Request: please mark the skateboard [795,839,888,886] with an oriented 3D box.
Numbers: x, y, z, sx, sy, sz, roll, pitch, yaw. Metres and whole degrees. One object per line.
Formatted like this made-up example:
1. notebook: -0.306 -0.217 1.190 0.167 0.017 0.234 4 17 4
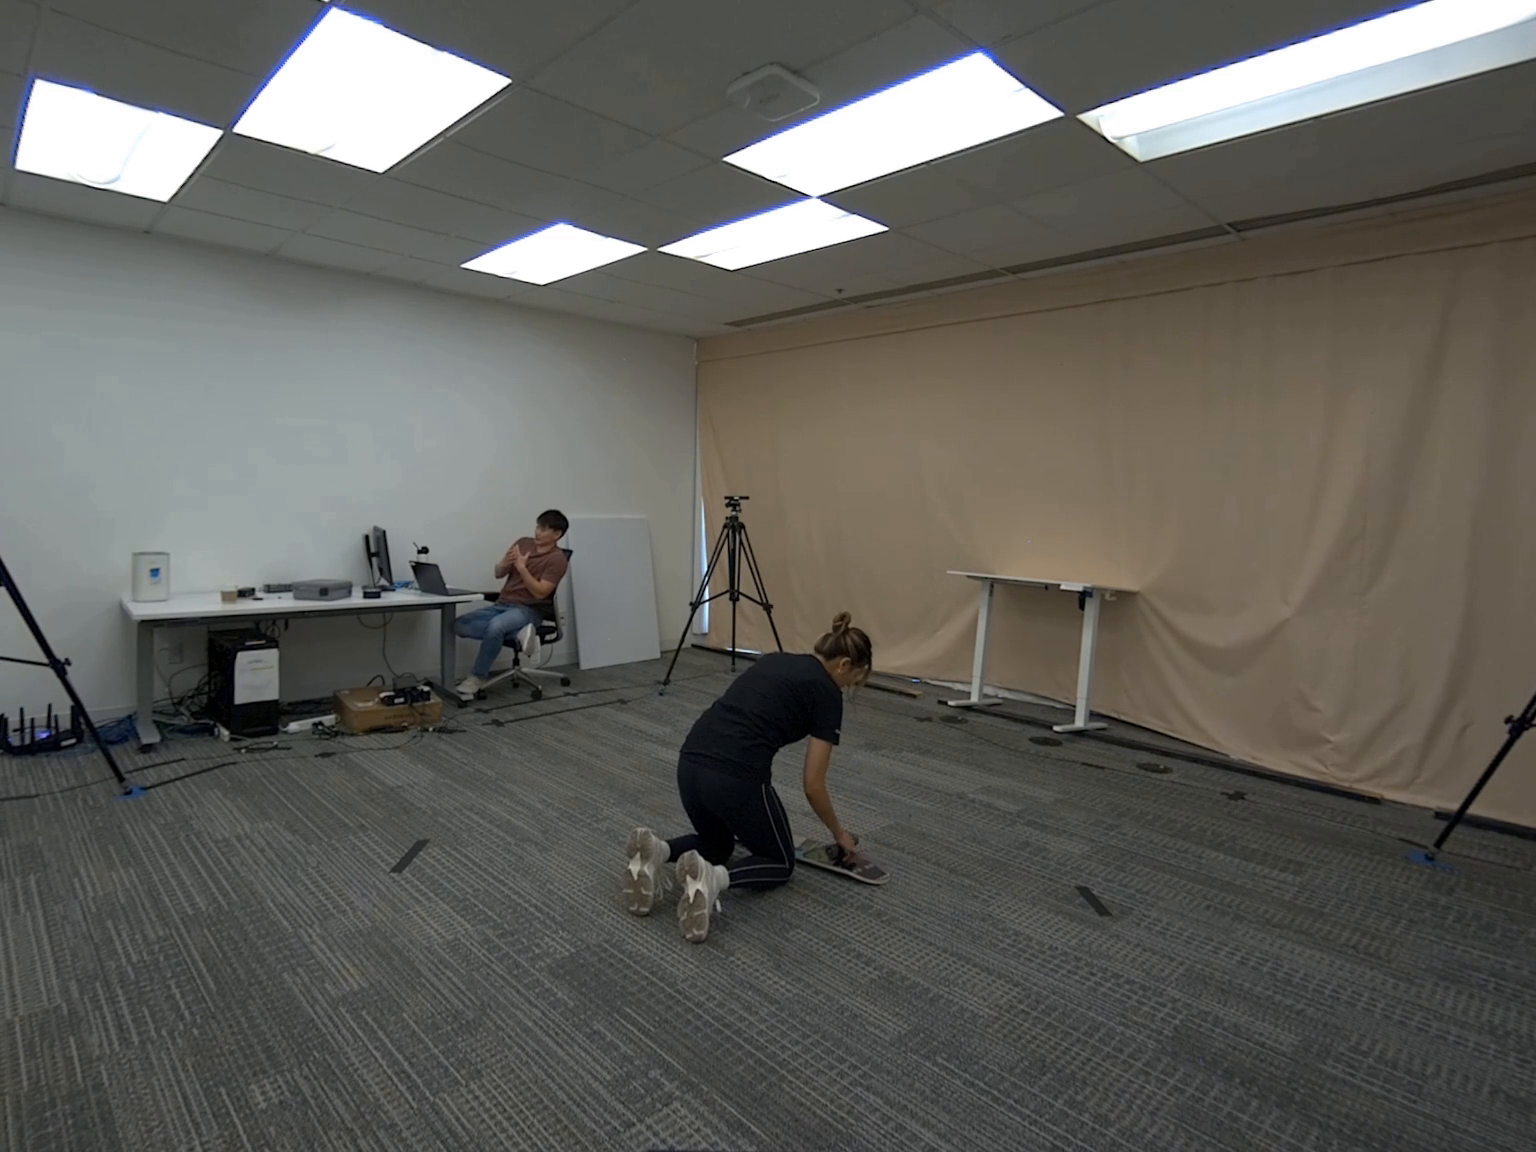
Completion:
1. skateboard: 0.111 1.037 3.315 0.804 0.110 0.189 5 3 35
